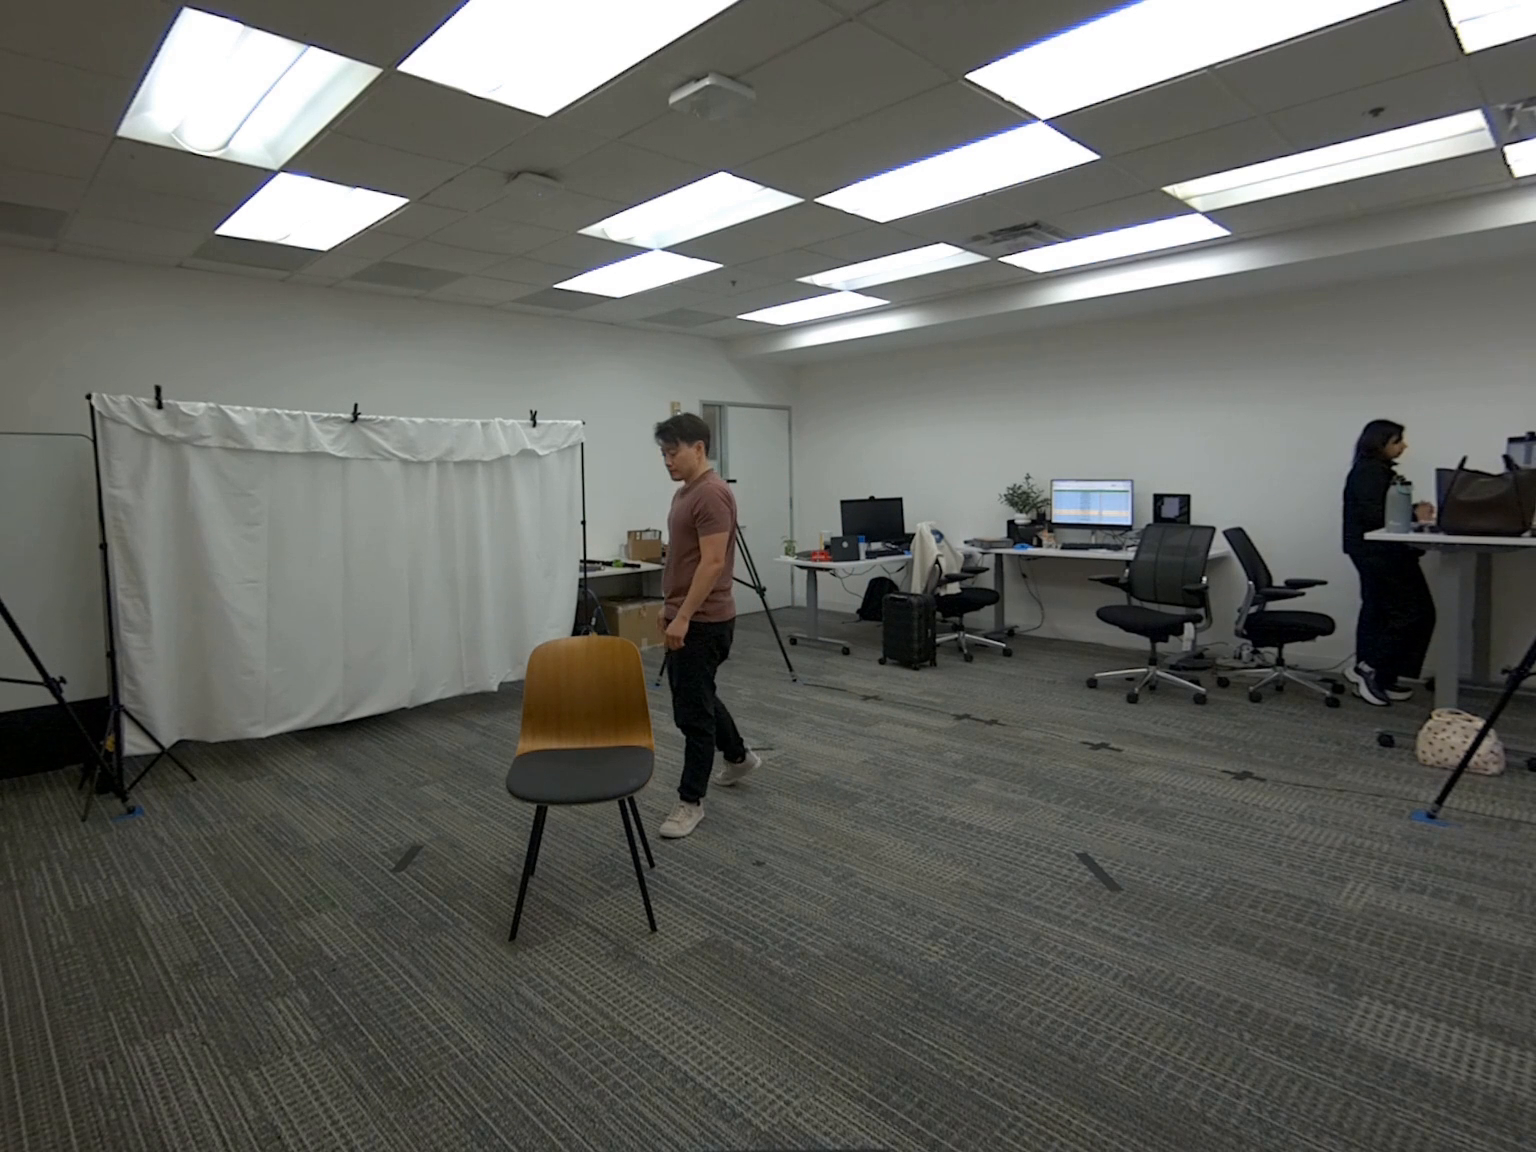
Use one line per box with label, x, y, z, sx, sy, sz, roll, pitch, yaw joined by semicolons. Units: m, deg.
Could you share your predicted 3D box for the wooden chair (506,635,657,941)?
wooden chair;-0.598;0.664;2.813;0.475;0.877;0.527;-1;0;-8
